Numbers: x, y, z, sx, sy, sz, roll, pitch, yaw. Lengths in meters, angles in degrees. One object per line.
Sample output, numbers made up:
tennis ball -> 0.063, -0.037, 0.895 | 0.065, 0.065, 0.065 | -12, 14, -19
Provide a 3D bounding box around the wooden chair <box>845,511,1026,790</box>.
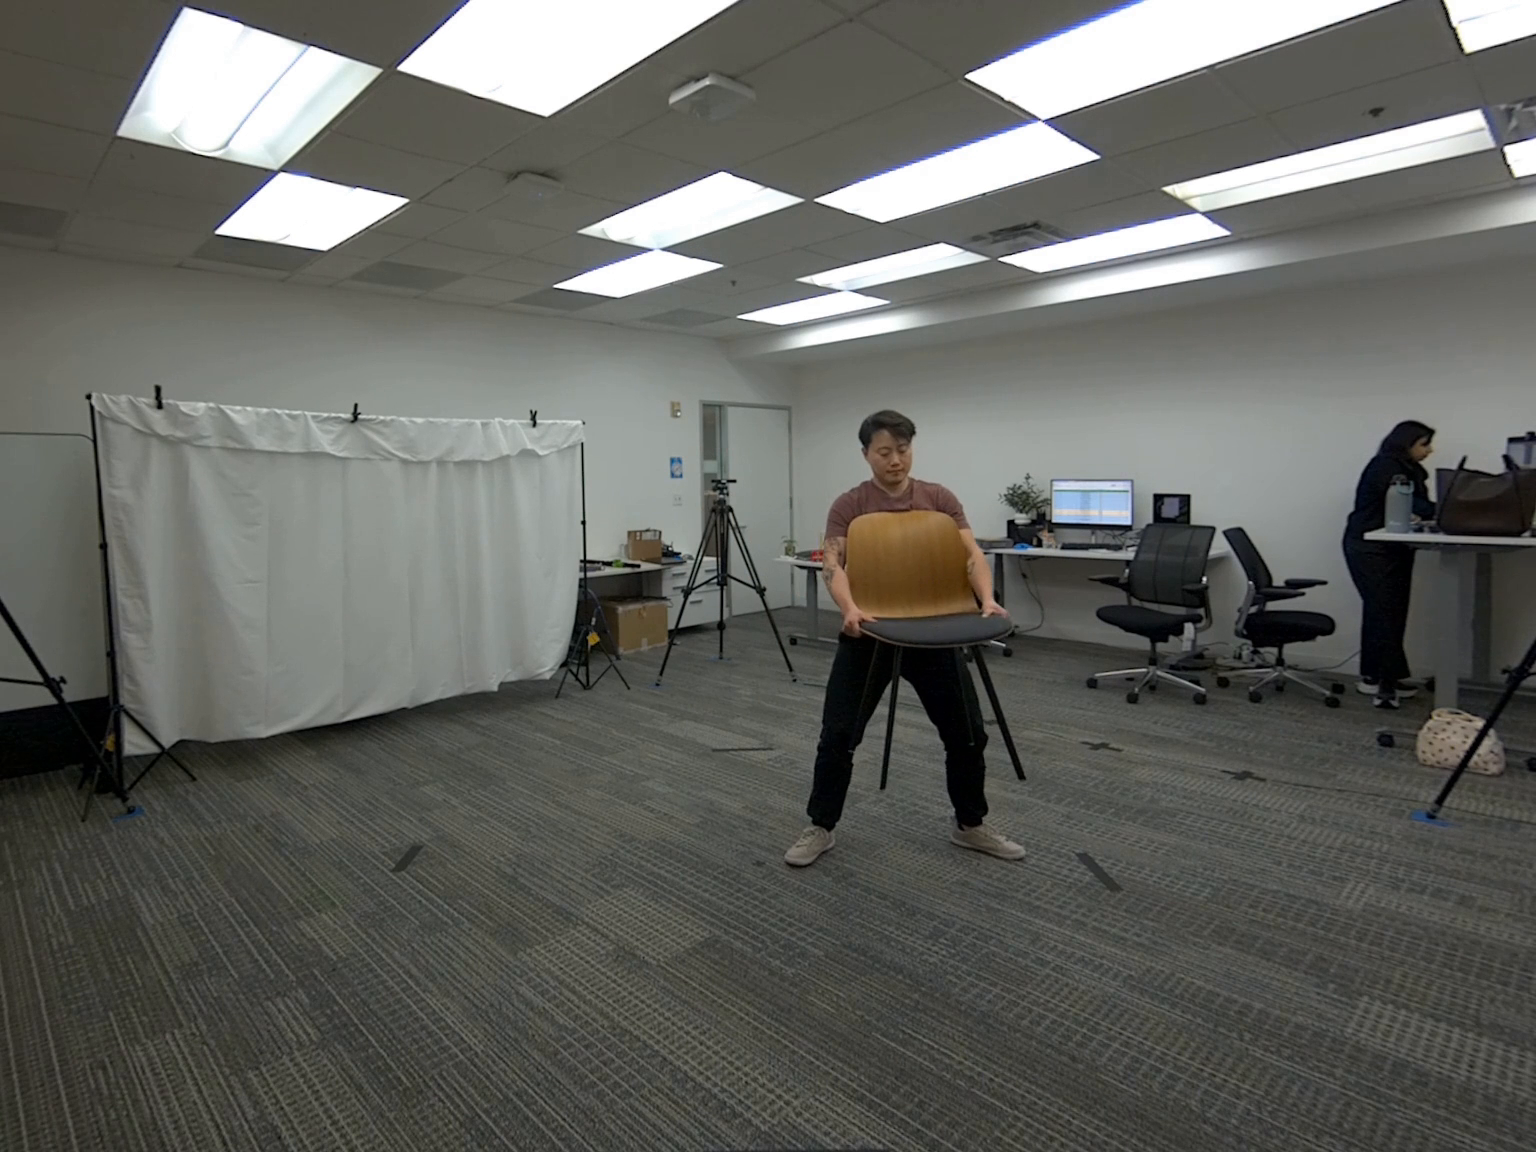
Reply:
wooden chair -> 0.519, 0.216, 2.809 | 0.476, 0.880, 0.524 | -3, -2, -6
